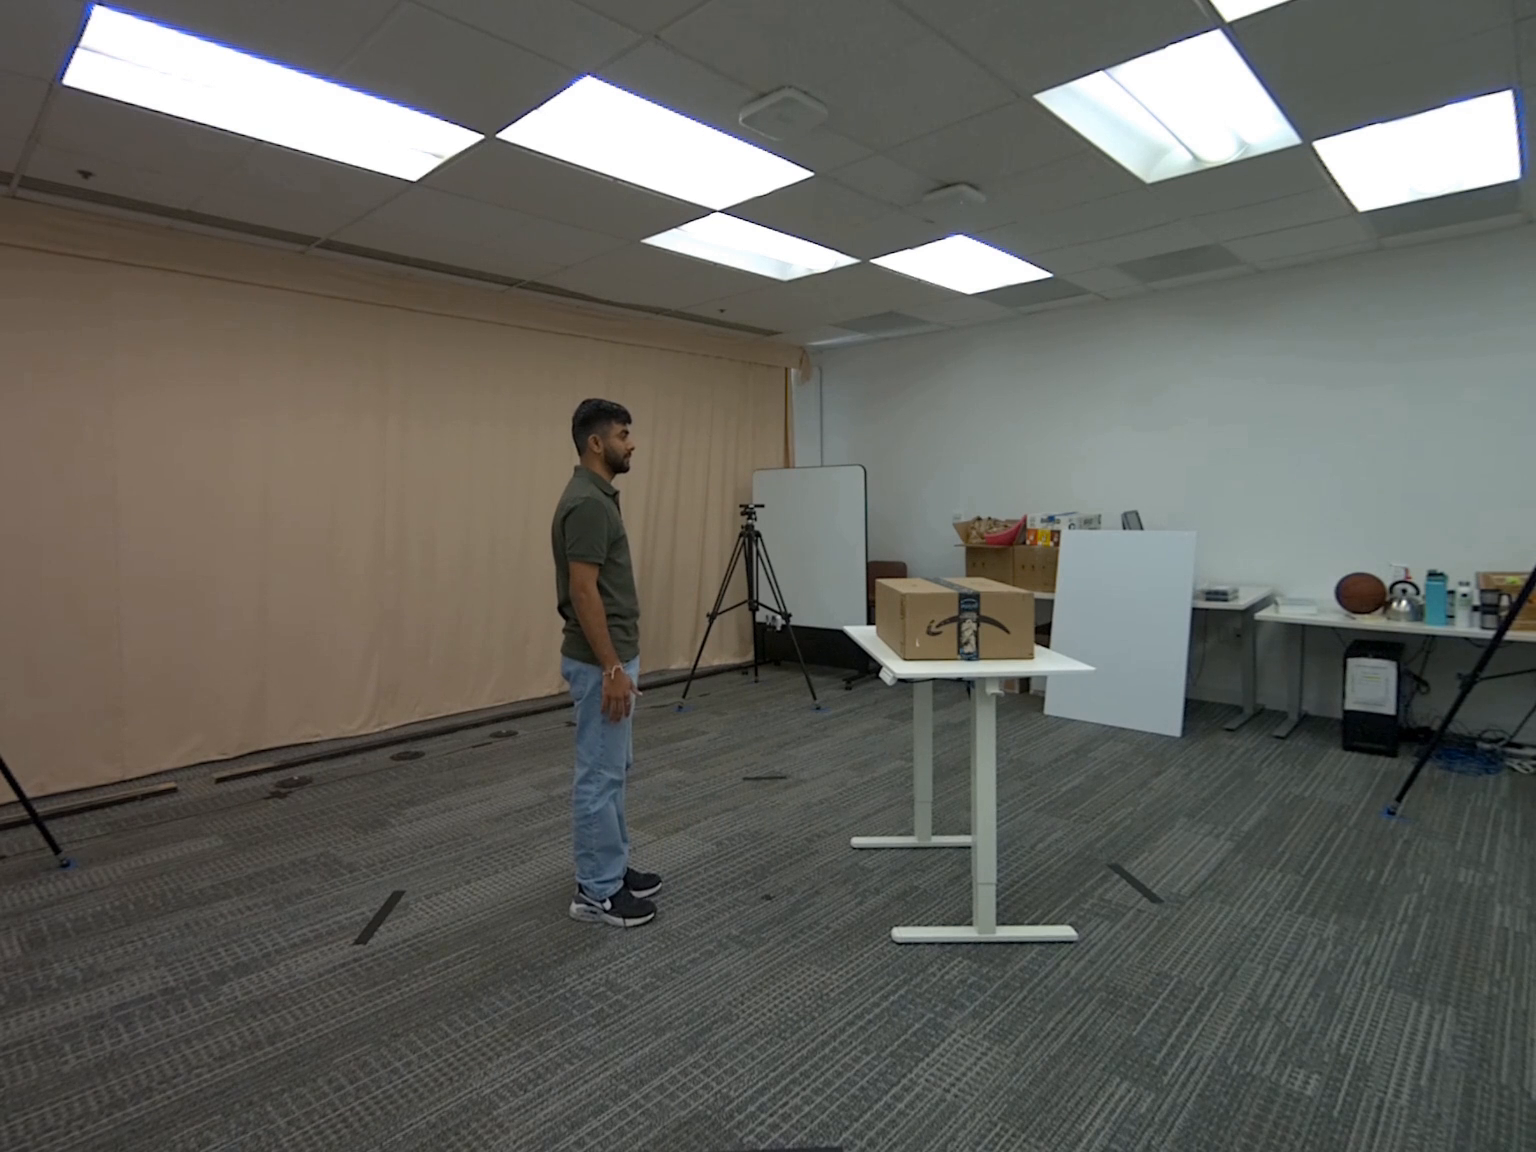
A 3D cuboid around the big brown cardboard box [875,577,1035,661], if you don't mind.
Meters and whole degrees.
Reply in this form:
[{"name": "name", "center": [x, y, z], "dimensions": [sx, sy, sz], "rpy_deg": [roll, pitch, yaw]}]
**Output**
[{"name": "big brown cardboard box", "center": [0.639, 0.142, 2.953], "dimensions": [0.418, 0.232, 0.590], "rpy_deg": [0, 5, -1]}]
